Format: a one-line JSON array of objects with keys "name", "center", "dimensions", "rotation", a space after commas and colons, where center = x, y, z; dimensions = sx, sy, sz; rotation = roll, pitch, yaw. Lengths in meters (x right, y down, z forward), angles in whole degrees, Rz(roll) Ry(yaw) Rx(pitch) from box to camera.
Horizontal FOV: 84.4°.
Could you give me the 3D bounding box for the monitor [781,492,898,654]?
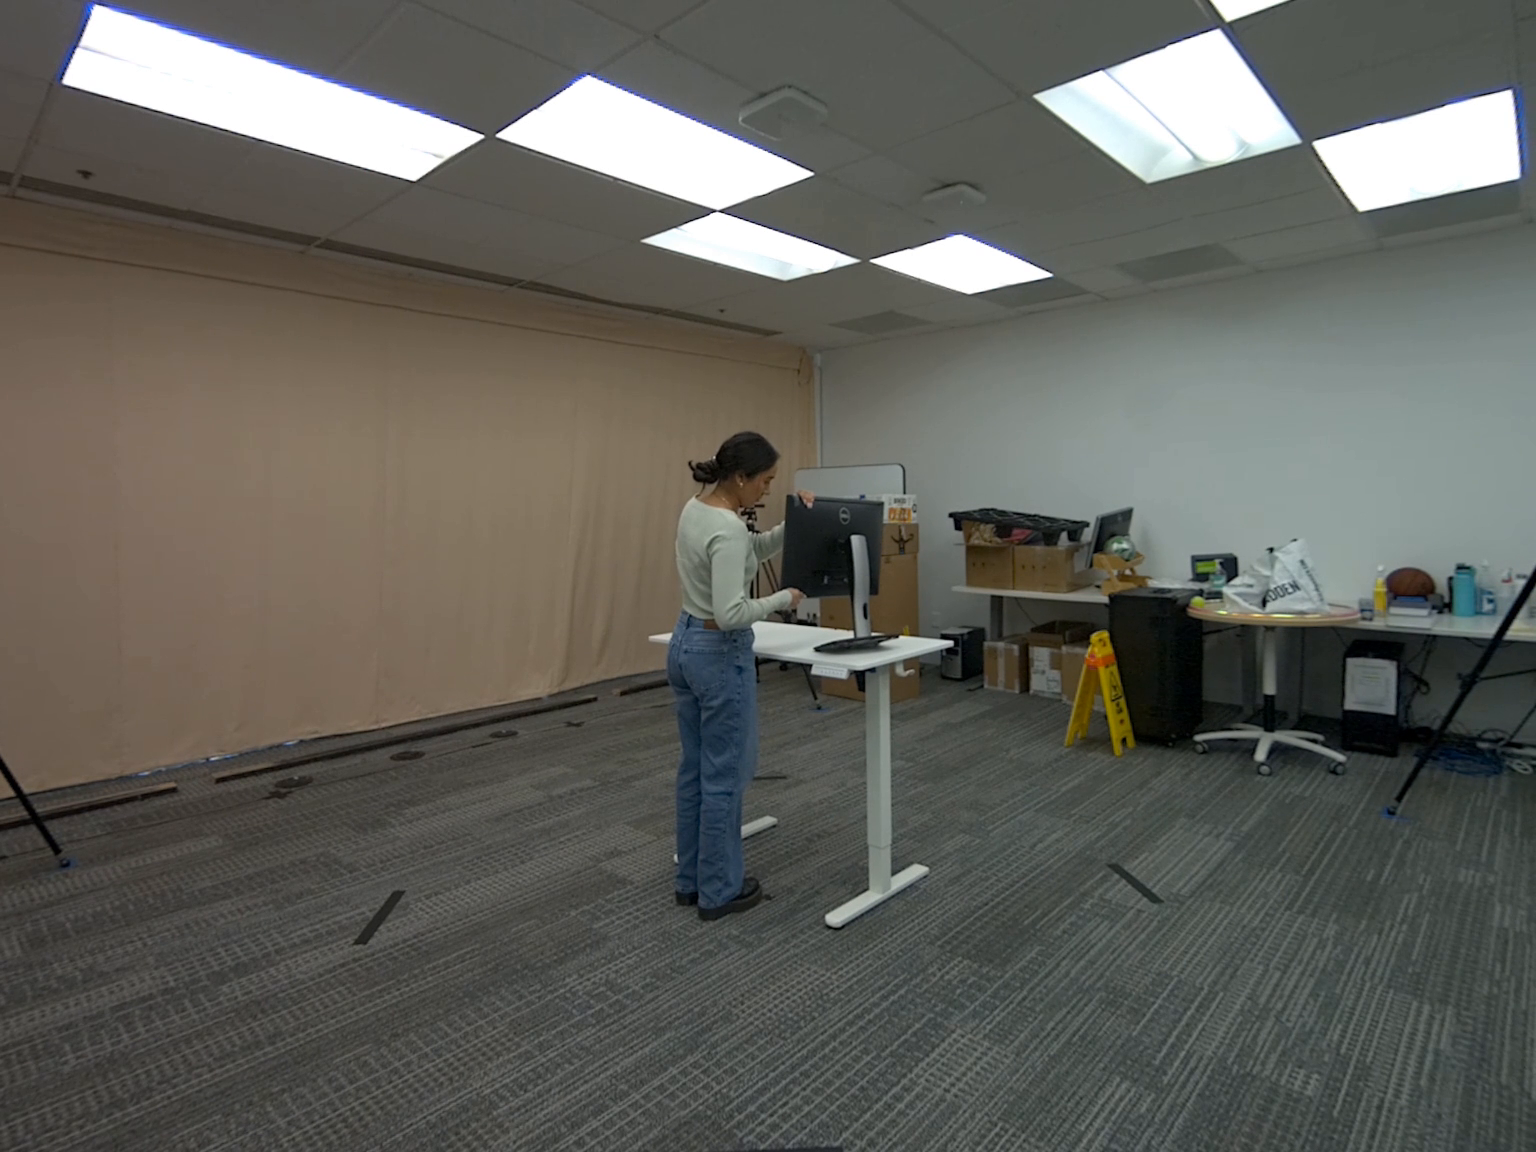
[{"name": "monitor", "center": [0.279, -0.015, 2.926], "dimensions": [0.192, 0.526, 0.522], "rotation": [-15, -10, 43]}]
